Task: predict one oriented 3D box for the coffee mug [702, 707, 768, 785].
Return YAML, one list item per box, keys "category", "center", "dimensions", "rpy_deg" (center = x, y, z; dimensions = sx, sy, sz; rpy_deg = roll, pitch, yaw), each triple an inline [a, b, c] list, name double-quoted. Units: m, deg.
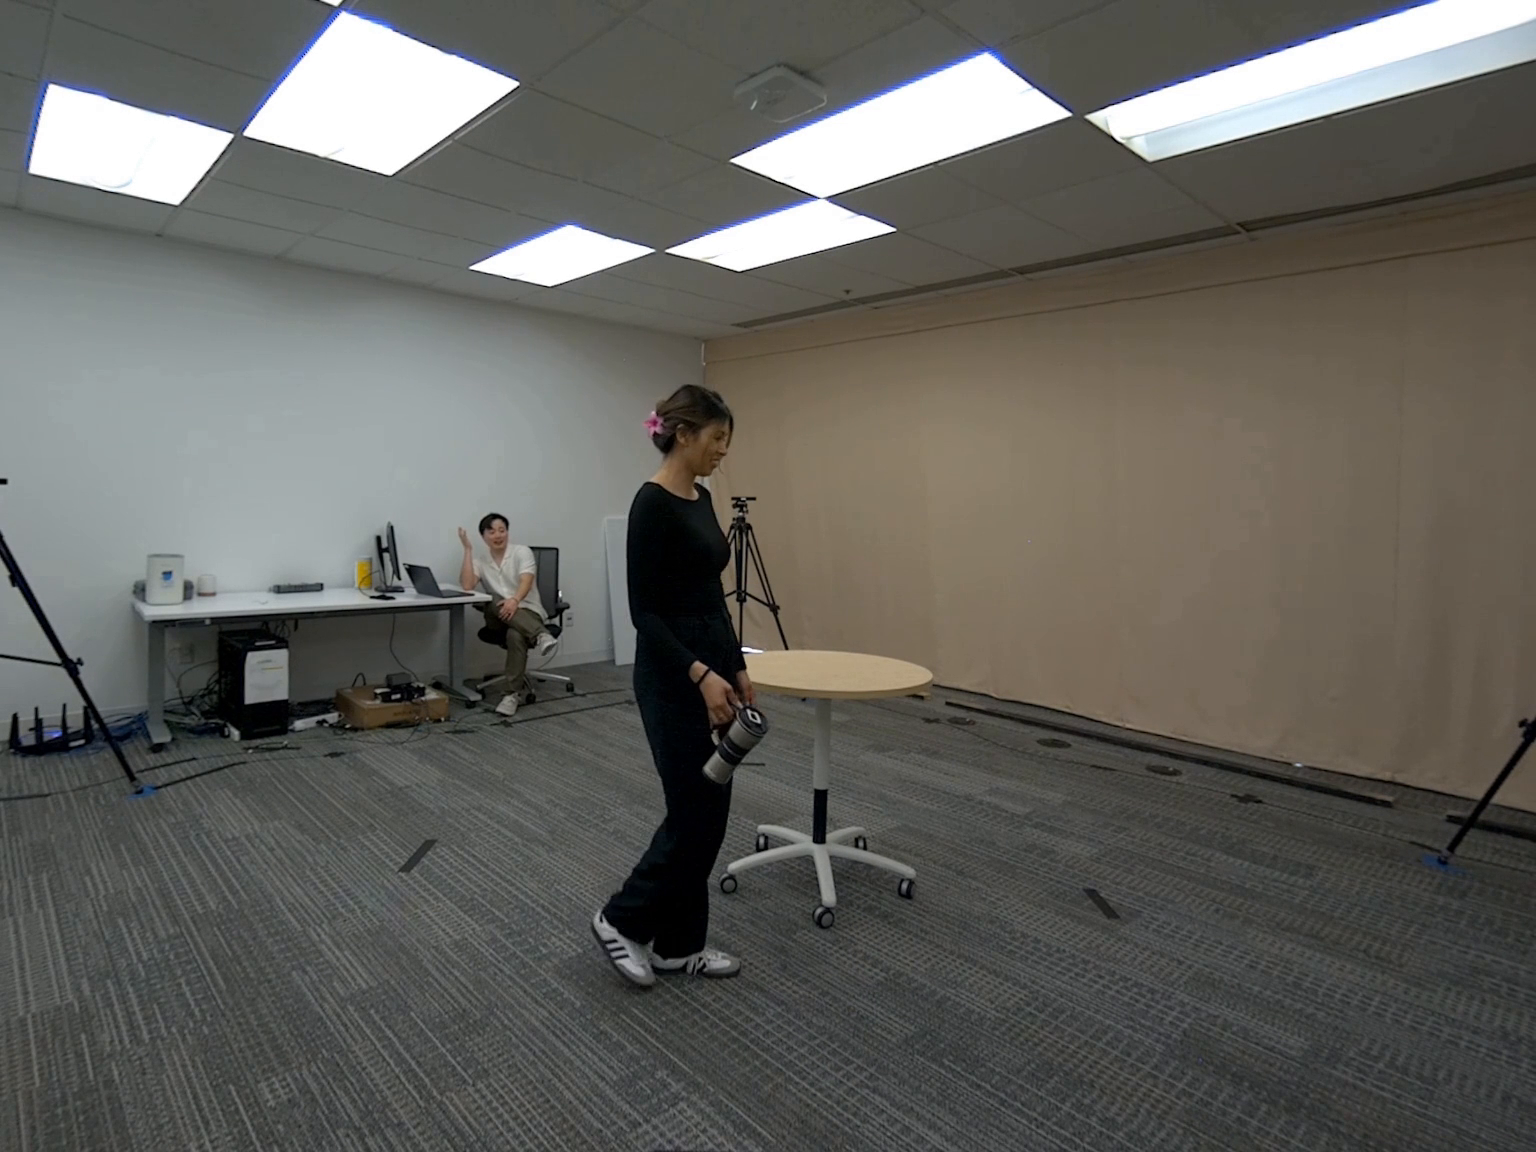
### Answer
- category: "coffee mug"
  center: [-0.114, 0.427, 2.125]
  dimensions: [0.085, 0.202, 0.126]
  rpy_deg: [16, 29, -36]
